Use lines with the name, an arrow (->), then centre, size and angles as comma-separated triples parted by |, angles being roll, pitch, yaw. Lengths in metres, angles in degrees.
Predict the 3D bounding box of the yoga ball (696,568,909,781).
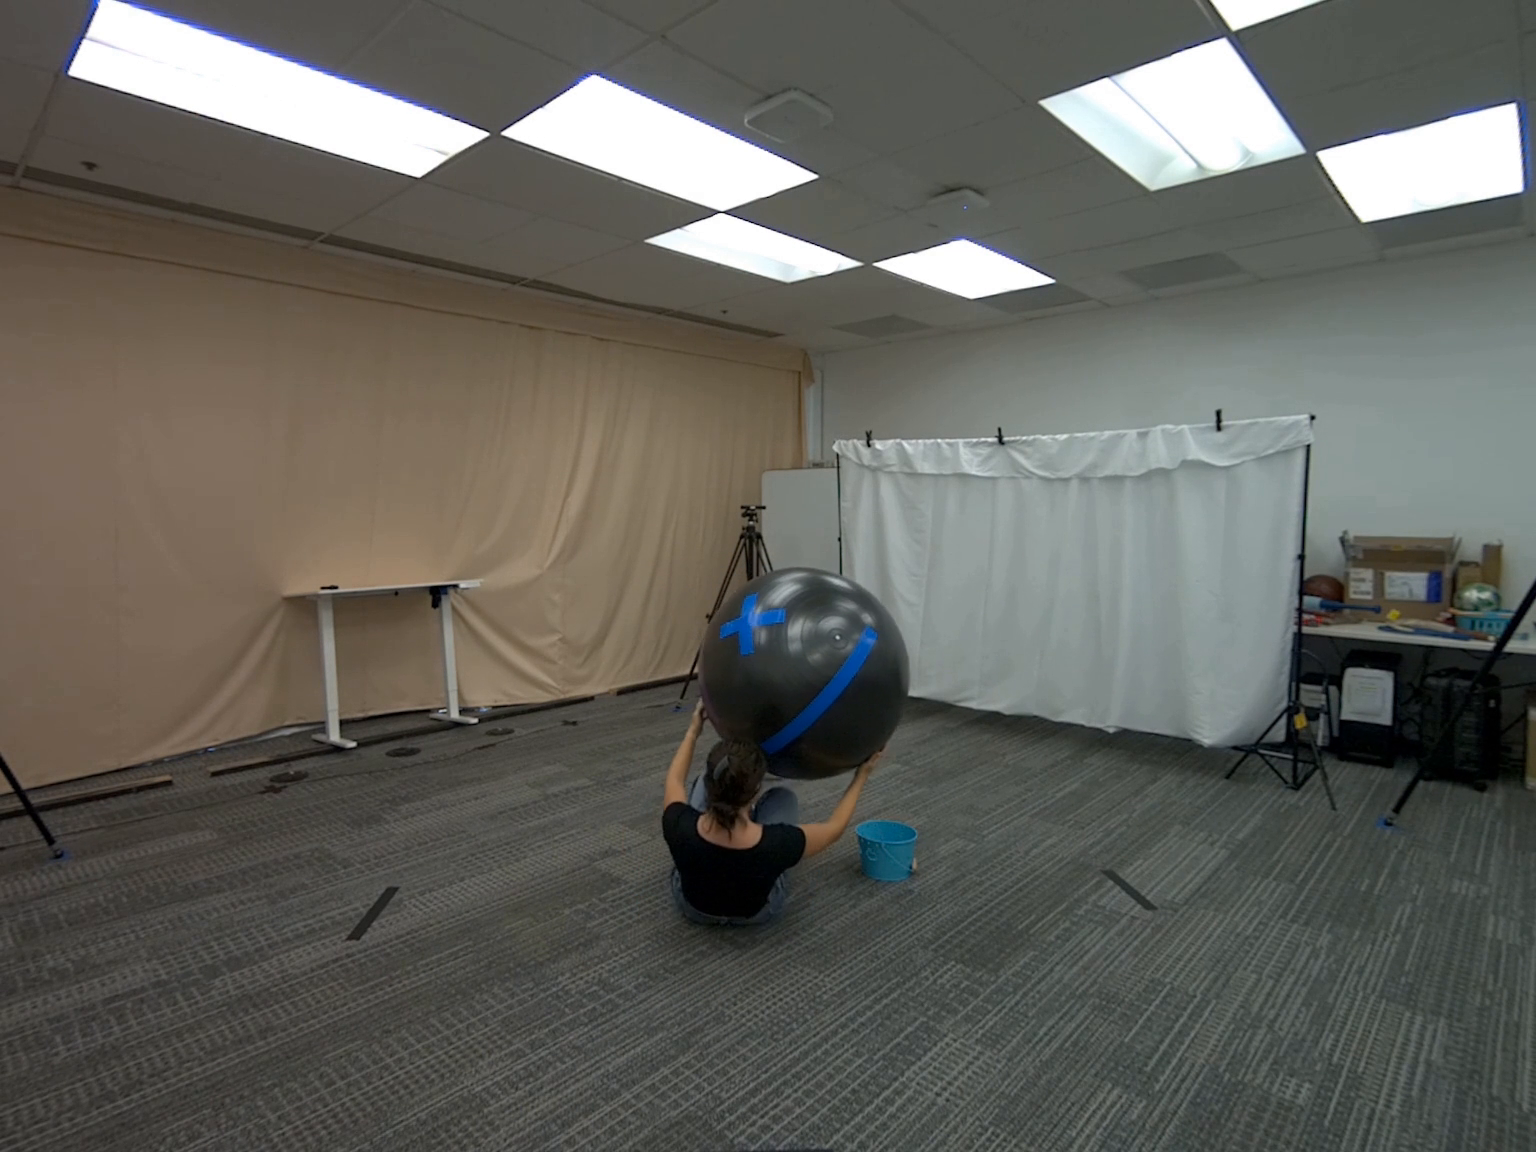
yoga ball -> 0.133, 0.362, 3.057 | 0.757, 0.756, 0.760 | 0, 4, -2
